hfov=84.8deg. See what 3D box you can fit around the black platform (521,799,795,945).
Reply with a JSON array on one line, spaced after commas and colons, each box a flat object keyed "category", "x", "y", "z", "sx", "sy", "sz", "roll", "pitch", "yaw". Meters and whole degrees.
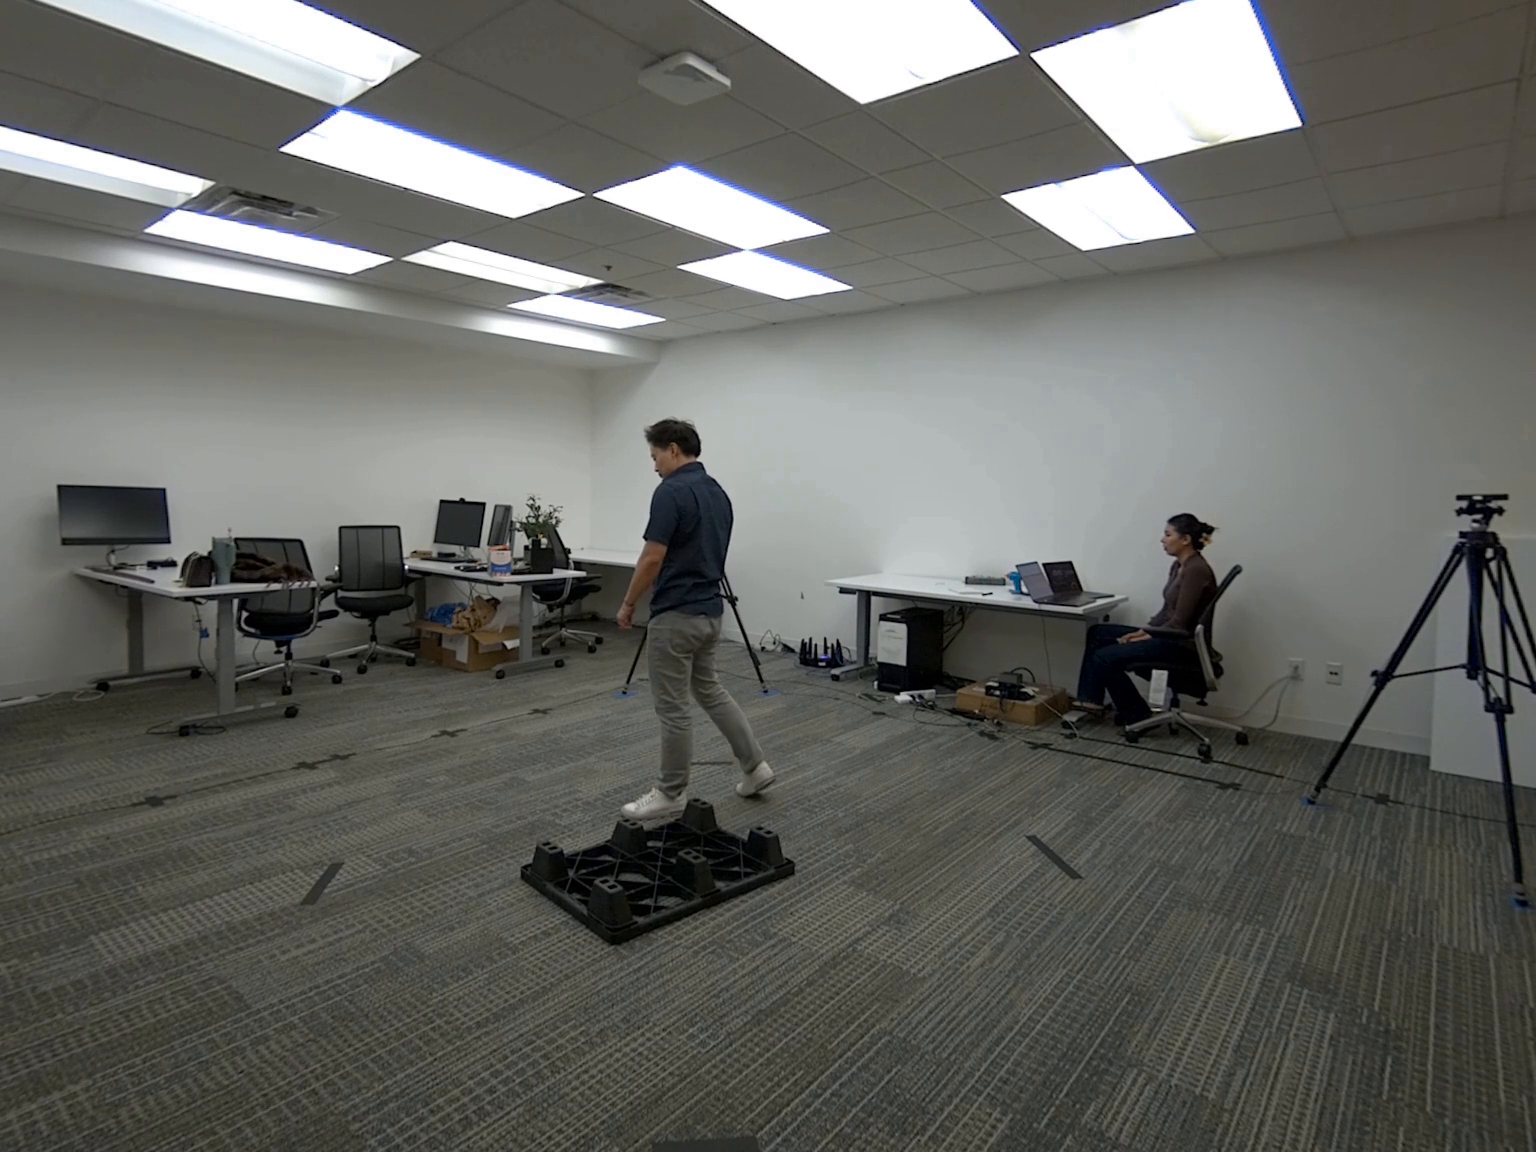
[{"category": "black platform", "x": -0.398, "y": 1.002, "z": 3.048, "sx": 0.781, "sy": 0.143, "sz": 0.626, "roll": -4, "pitch": 8, "yaw": -43}]
